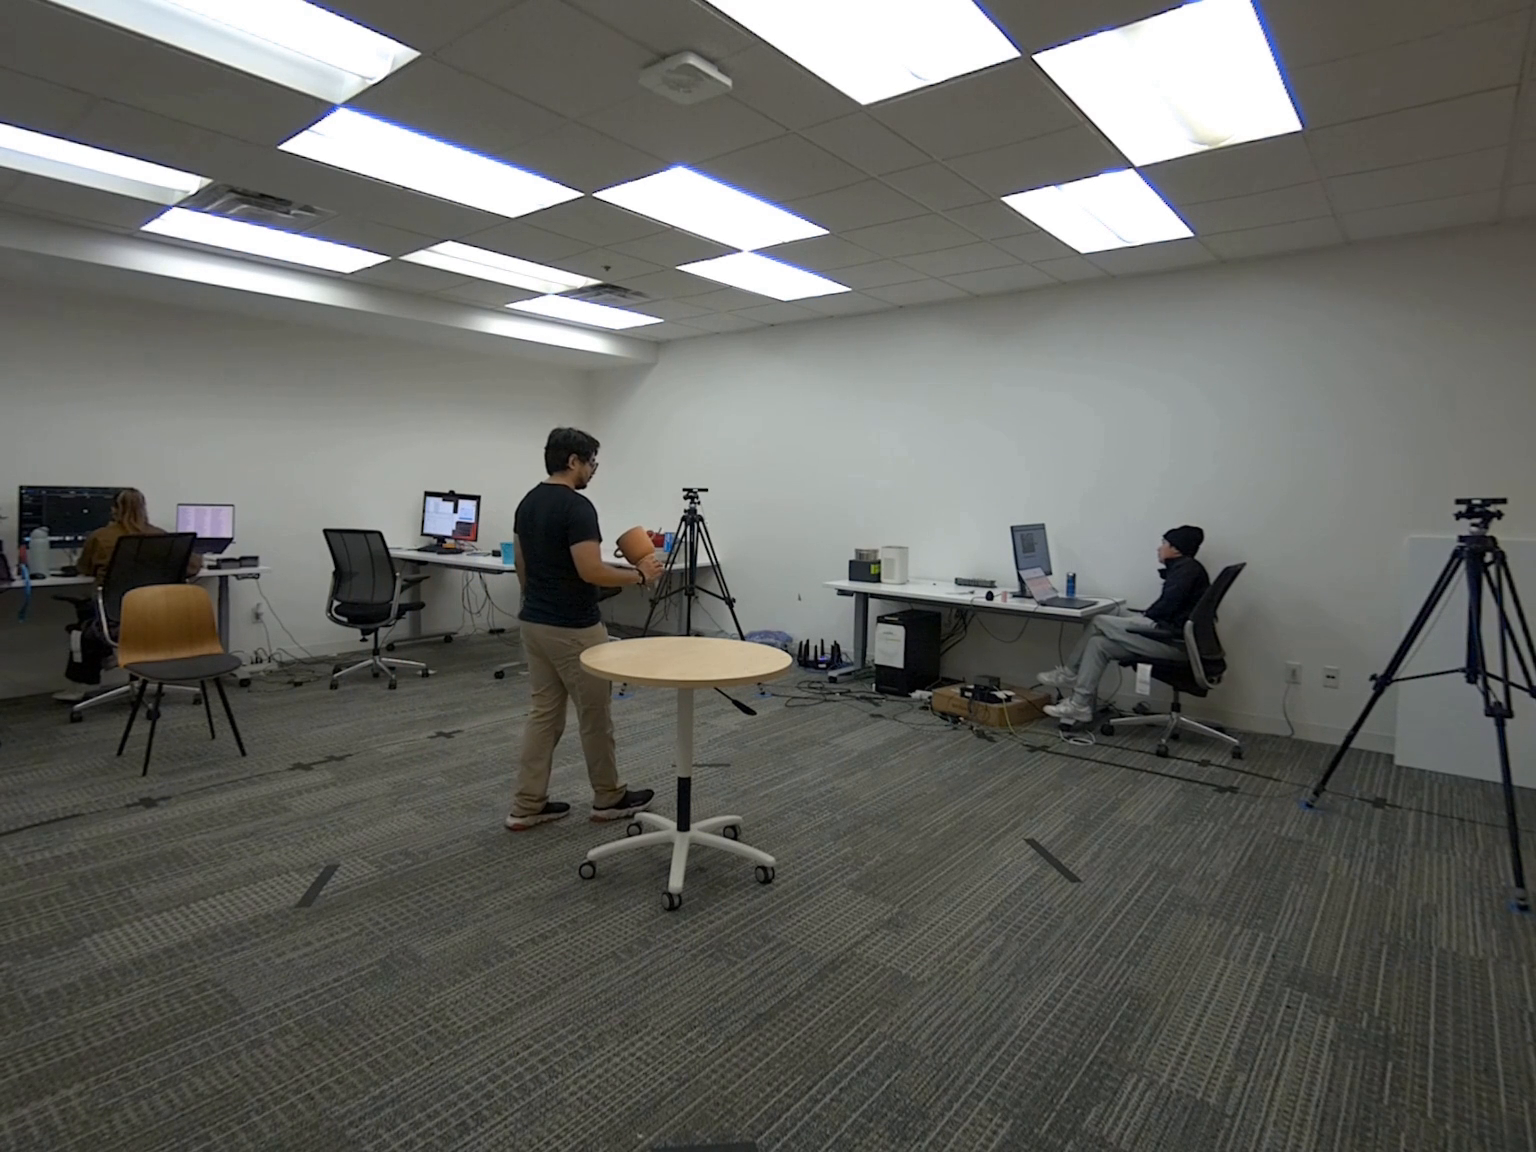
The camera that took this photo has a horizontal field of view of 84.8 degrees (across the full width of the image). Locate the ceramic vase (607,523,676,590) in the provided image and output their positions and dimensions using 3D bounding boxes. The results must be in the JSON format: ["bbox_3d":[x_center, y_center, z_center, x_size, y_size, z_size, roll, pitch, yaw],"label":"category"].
[{"bbox_3d":[-0.544,-0.087,3.607,0.159,0.223,0.132,-38,-12,24],"label":"ceramic vase"}]
